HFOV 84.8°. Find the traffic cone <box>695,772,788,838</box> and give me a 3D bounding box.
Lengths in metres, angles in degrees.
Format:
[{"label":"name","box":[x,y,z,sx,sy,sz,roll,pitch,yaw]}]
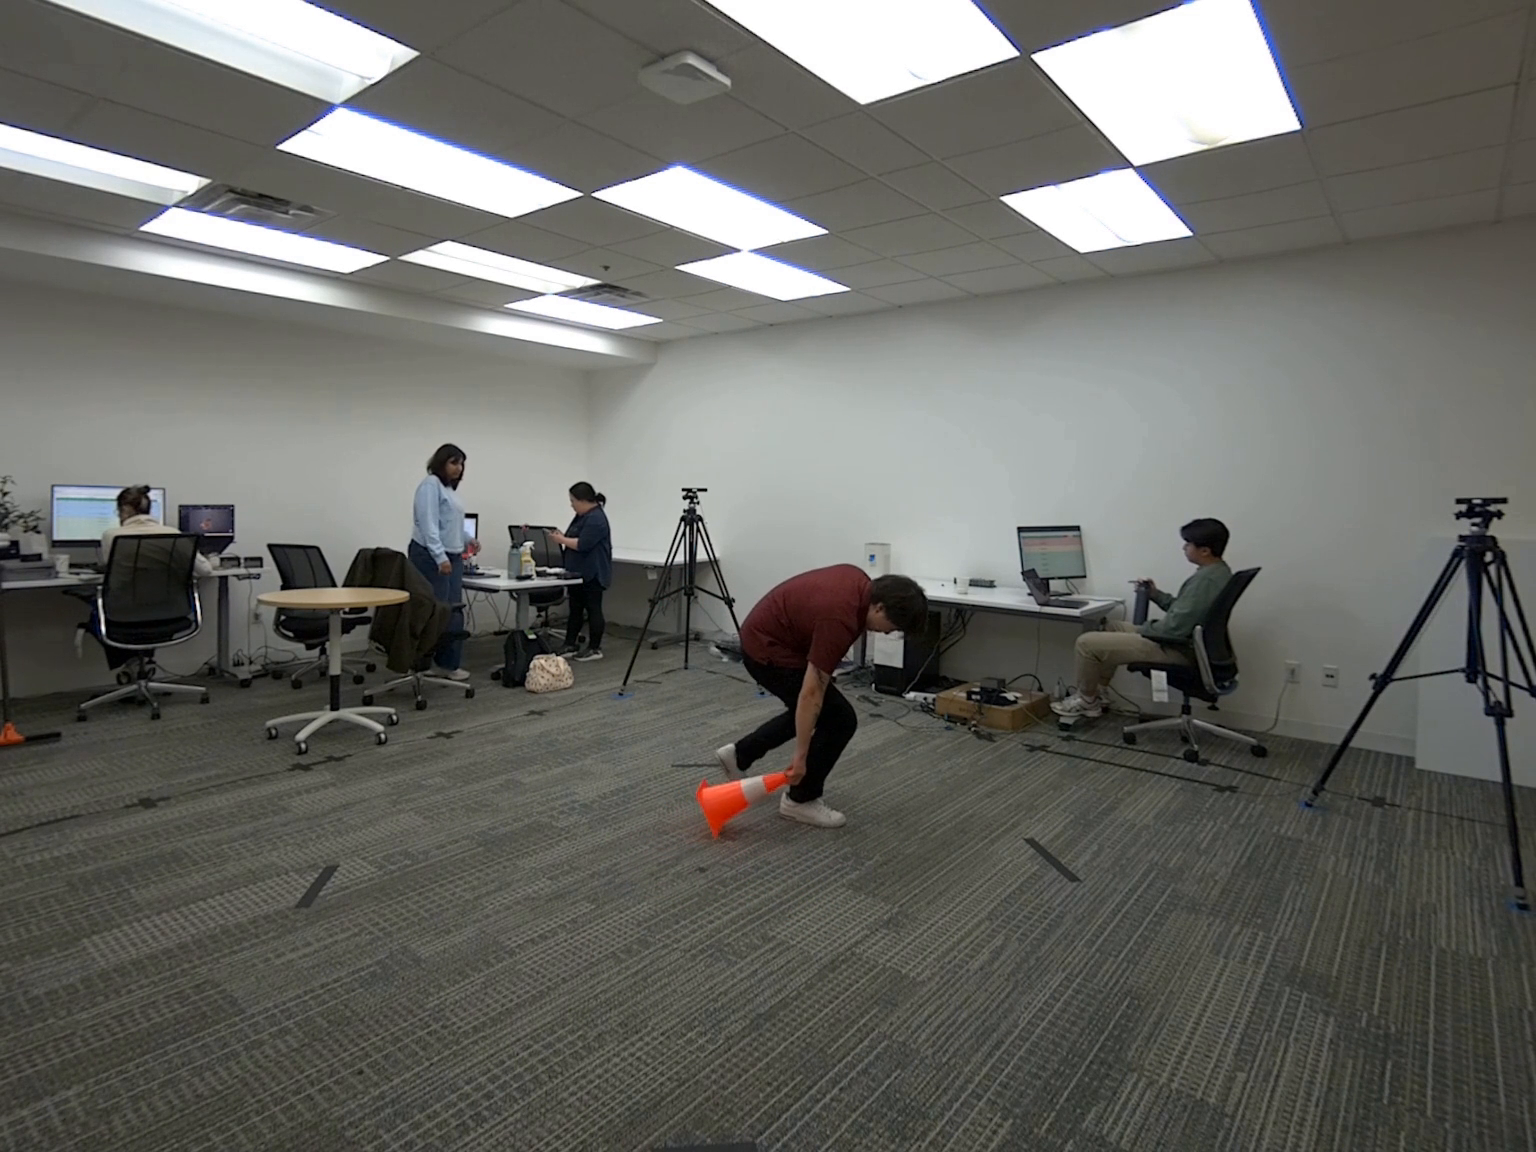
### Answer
[{"label":"traffic cone","box":[-0.075,0.872,3.447,0.385,0.207,0.201,-23,-12,5]}]
